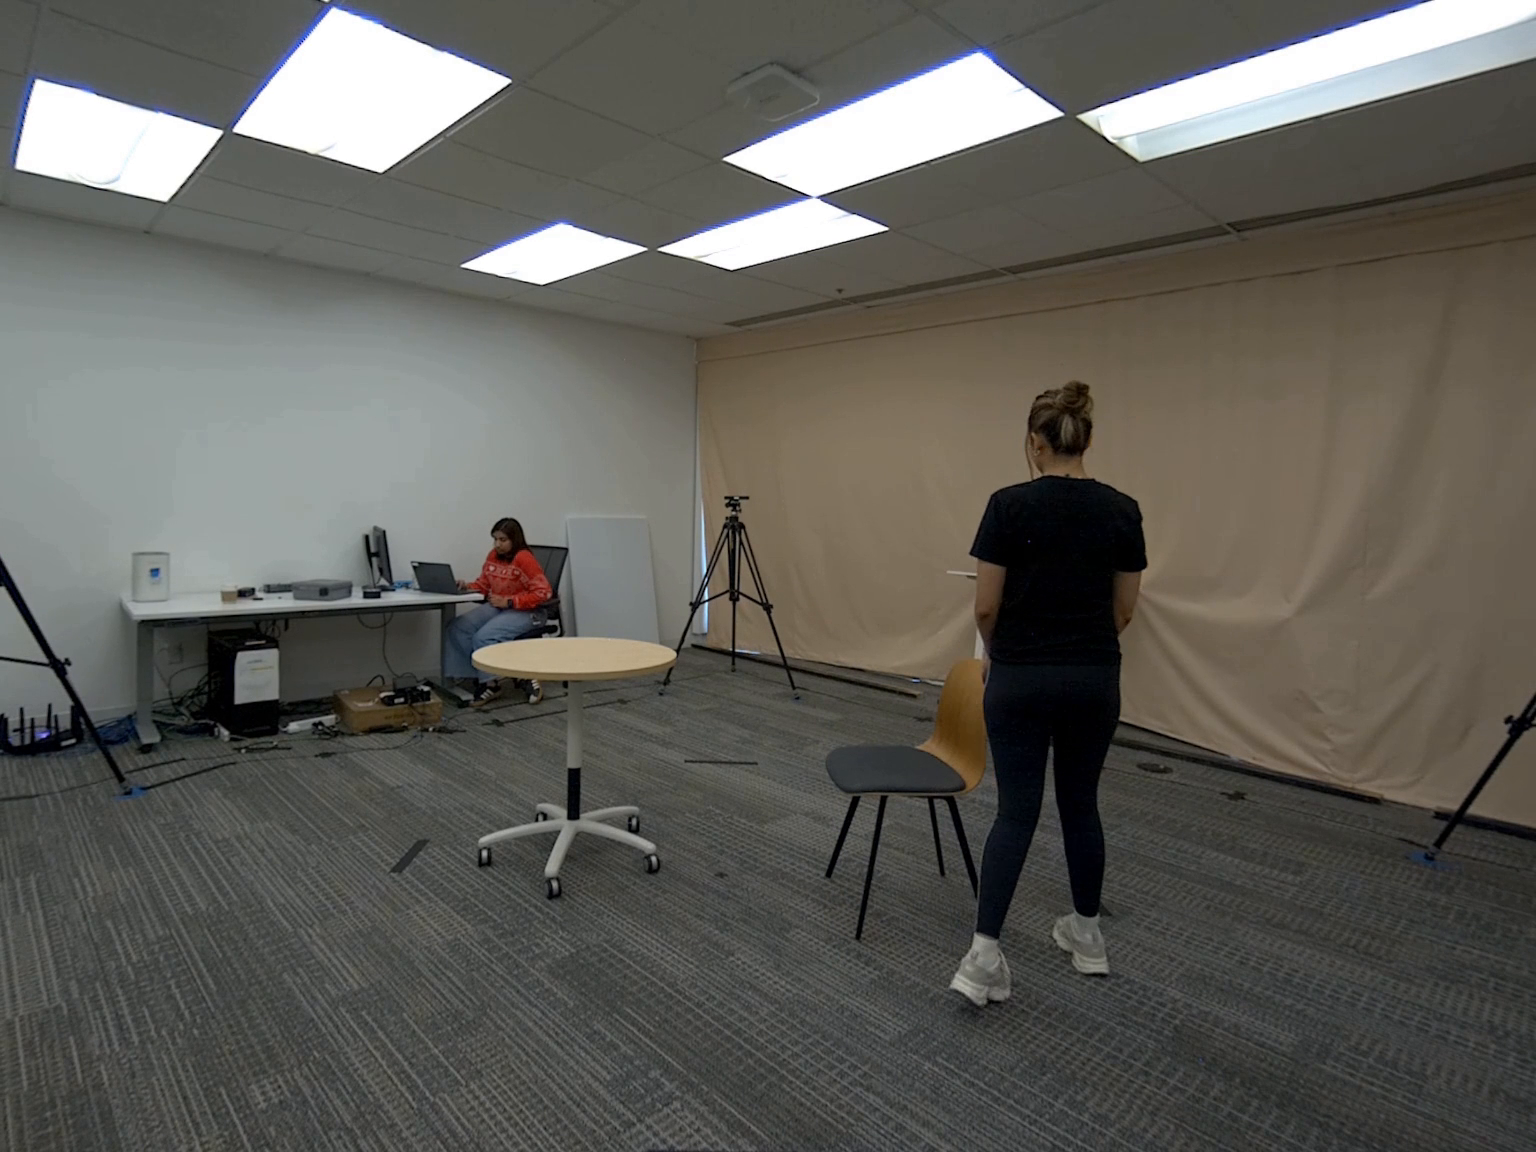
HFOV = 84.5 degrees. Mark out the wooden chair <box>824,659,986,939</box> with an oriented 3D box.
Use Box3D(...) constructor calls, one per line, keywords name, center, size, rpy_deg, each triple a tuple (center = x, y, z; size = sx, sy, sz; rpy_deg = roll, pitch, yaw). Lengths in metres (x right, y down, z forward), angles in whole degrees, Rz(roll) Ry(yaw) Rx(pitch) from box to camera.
Box3D(name="wooden chair", center=(0.470, 0.713, 2.877), size=(0.520, 0.875, 0.482), rpy_deg=(5, 4, -7))
